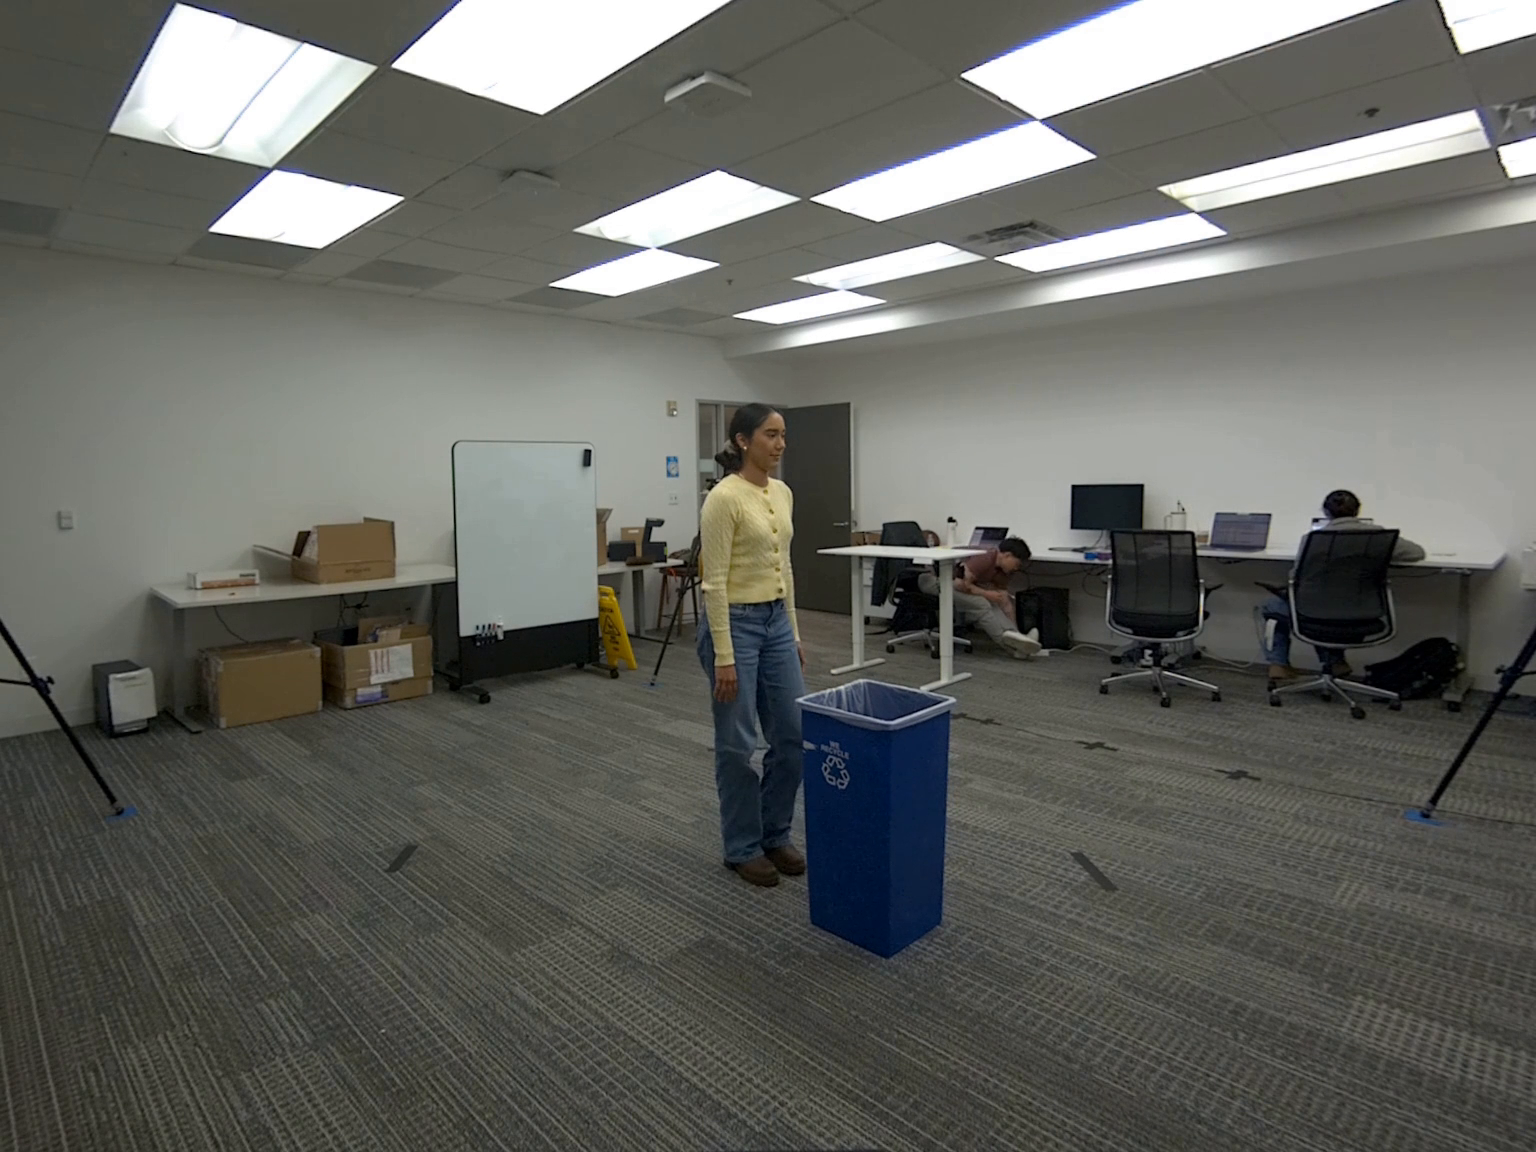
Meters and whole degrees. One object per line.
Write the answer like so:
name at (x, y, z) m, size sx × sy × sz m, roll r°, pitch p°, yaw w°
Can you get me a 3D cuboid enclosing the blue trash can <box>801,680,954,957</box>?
blue trash can at (0.345, 0.733, 2.649) m, size 0.385 × 0.711 × 0.368 m, roll 3°, pitch 6°, yaw 44°
